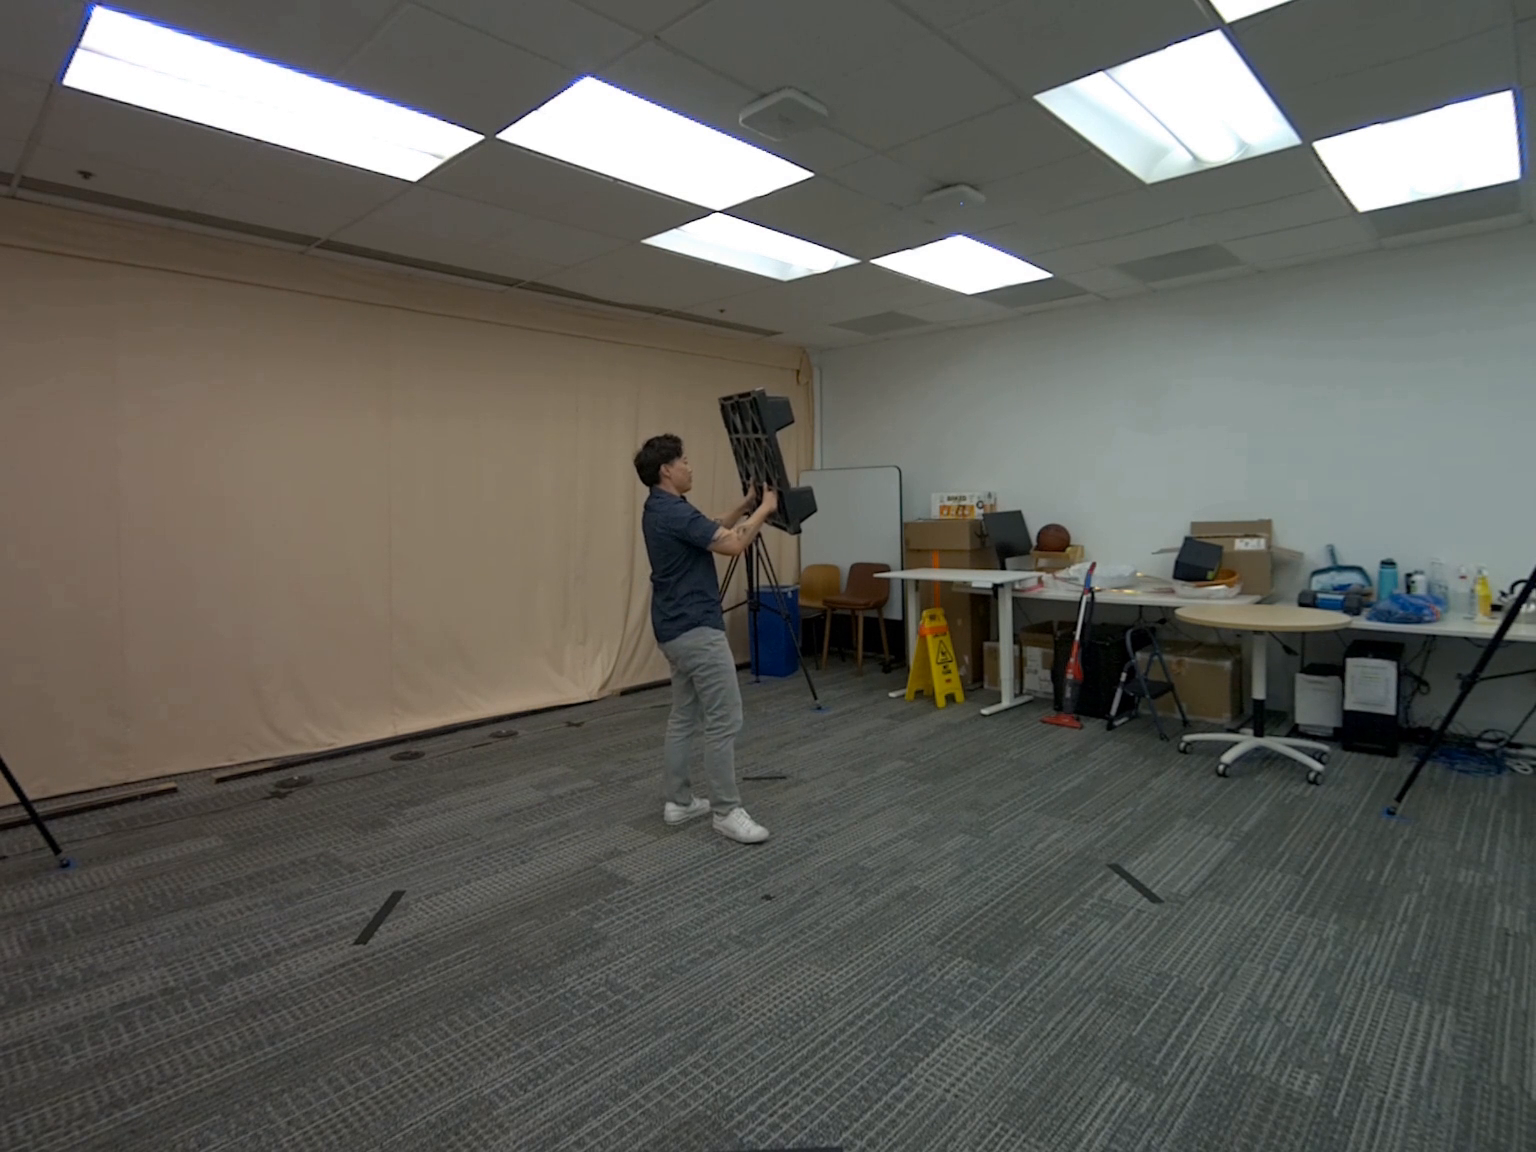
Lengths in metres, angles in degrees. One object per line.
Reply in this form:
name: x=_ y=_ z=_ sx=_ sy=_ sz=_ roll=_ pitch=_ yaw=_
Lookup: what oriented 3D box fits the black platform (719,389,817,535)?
black platform: x=-0.008 y=-0.525 z=3.710 sx=0.142 sy=0.599 sz=0.820 roll=-16 pitch=12 yaw=-11
